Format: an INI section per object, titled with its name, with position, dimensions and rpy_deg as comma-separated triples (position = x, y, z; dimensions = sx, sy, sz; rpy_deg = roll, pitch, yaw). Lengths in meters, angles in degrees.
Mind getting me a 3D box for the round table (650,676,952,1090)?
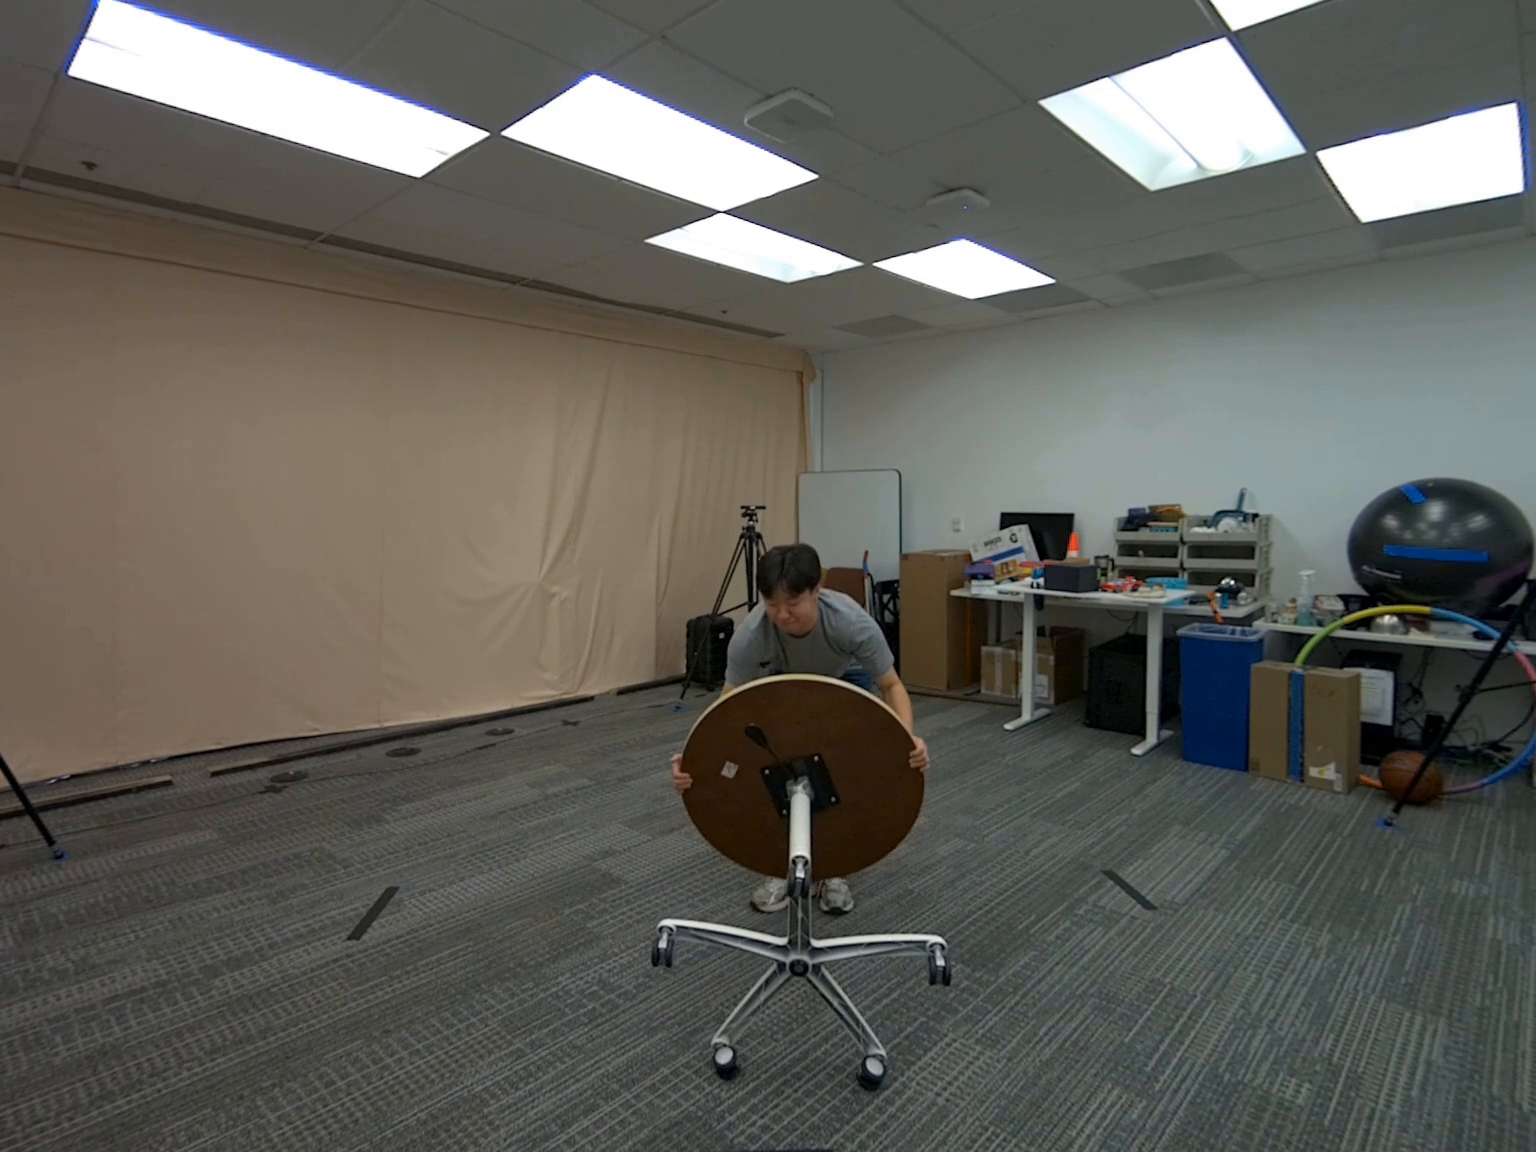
[round table]
position = 0.086, 0.794, 2.287
dimensions = 0.768, 0.753, 0.800
rpy_deg = 0, 22, 4
